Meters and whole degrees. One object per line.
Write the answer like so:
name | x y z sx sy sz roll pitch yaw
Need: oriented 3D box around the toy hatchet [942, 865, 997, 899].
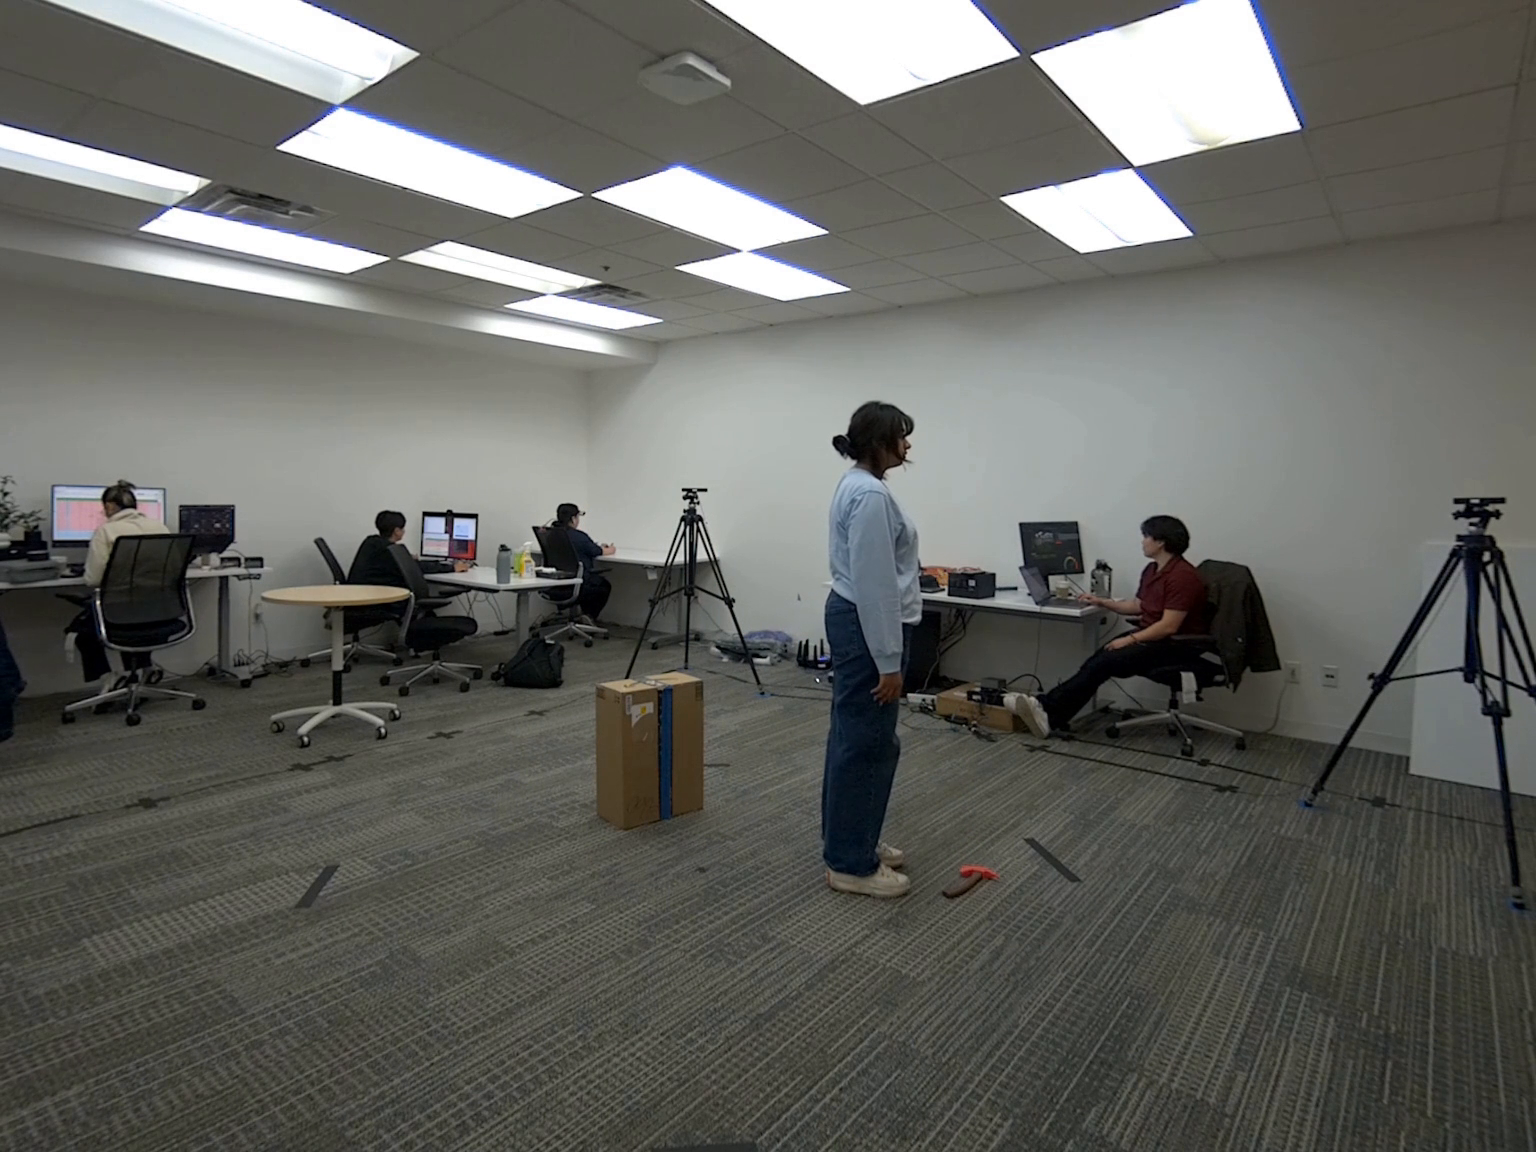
toy hatchet | 0.689 1.090 3.050 0.263 0.029 0.135 -5 10 -35
